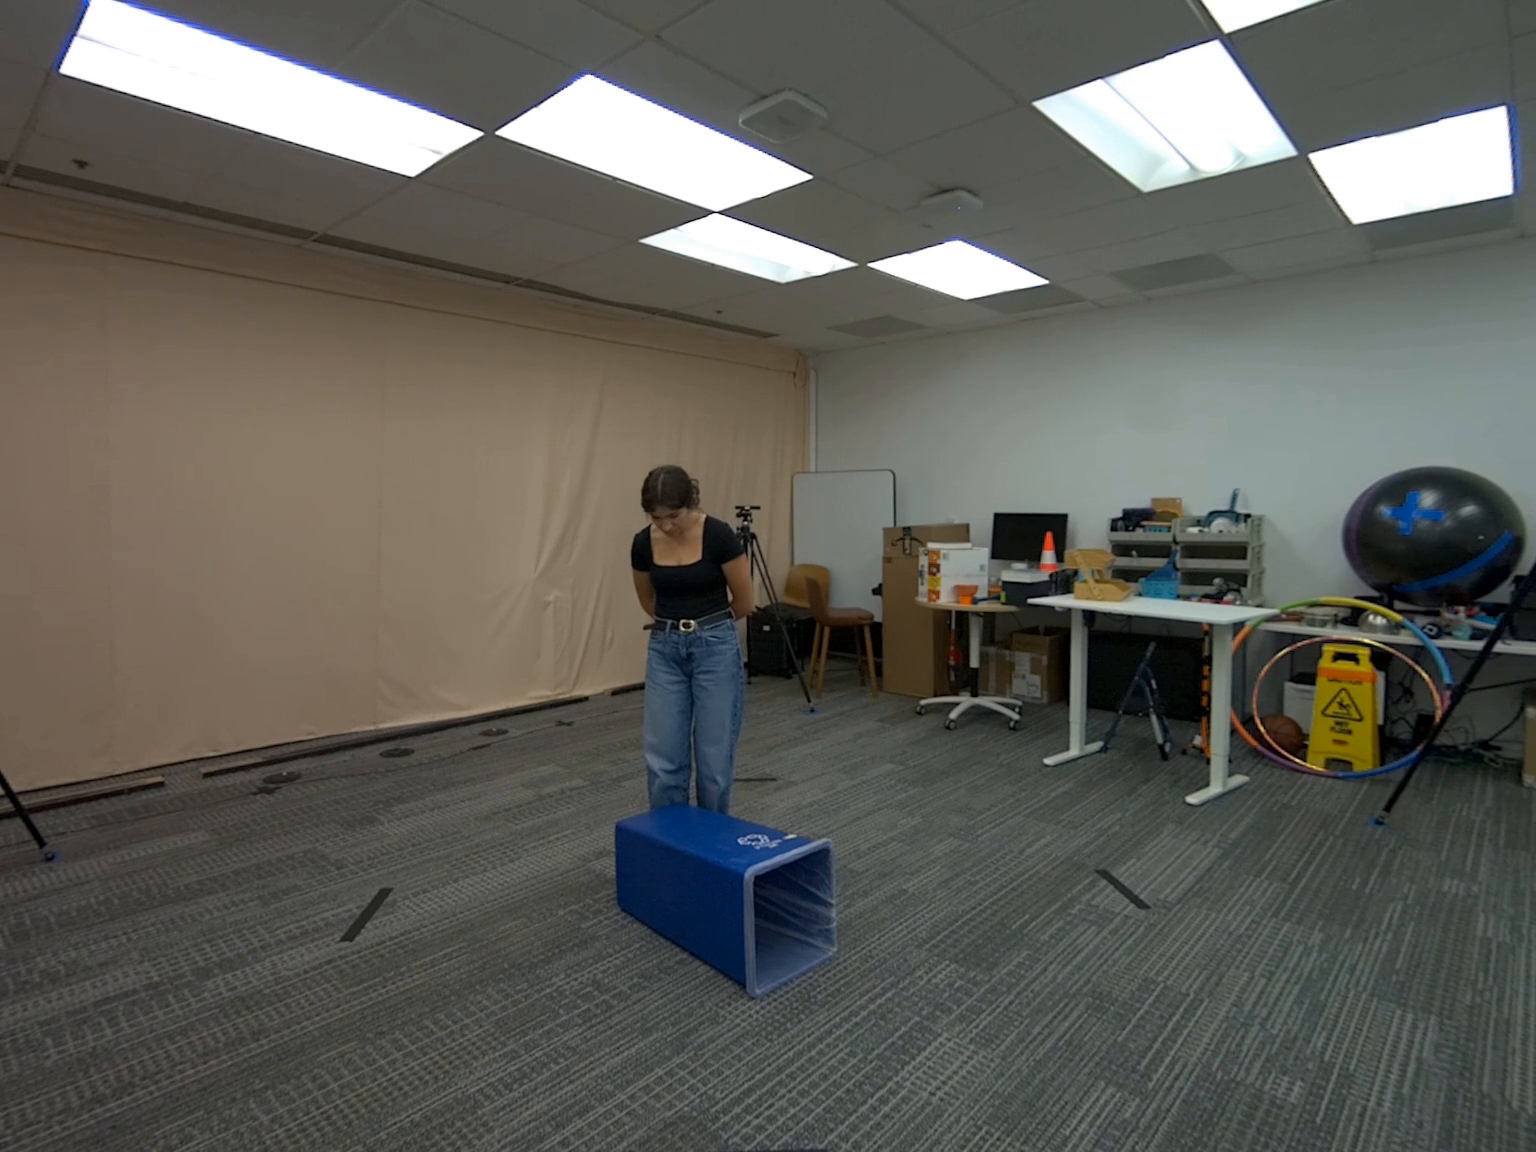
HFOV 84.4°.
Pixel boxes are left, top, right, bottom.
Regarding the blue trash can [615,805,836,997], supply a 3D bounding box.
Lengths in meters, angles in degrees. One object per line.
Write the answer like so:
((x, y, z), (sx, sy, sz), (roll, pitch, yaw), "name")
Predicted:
((-0.167, 1.000, 2.733), (0.362, 0.378, 0.736), (-4, 3, -44), "blue trash can")
